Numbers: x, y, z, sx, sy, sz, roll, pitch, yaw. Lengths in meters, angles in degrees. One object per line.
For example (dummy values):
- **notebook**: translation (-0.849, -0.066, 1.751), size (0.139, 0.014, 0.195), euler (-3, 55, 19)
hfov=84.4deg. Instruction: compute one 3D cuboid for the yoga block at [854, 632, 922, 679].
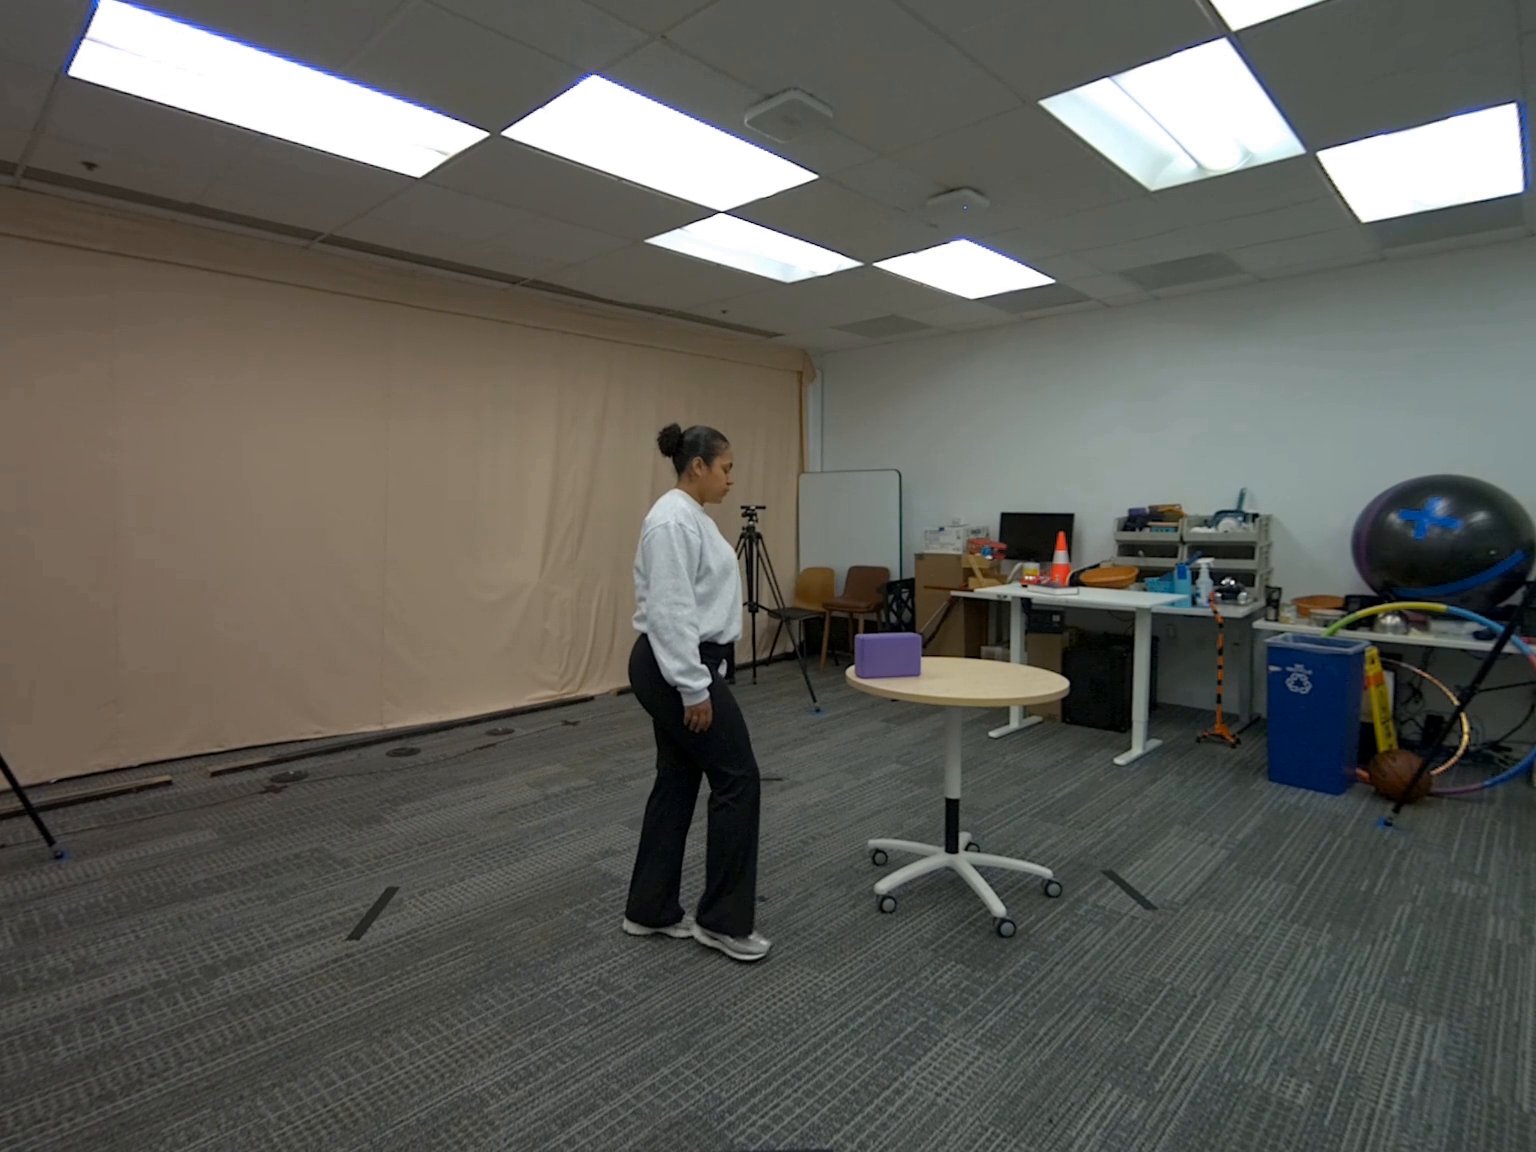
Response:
- **yoga block**: translation (0.437, 0.282, 2.991), size (0.226, 0.148, 0.077), euler (0, 4, -13)
